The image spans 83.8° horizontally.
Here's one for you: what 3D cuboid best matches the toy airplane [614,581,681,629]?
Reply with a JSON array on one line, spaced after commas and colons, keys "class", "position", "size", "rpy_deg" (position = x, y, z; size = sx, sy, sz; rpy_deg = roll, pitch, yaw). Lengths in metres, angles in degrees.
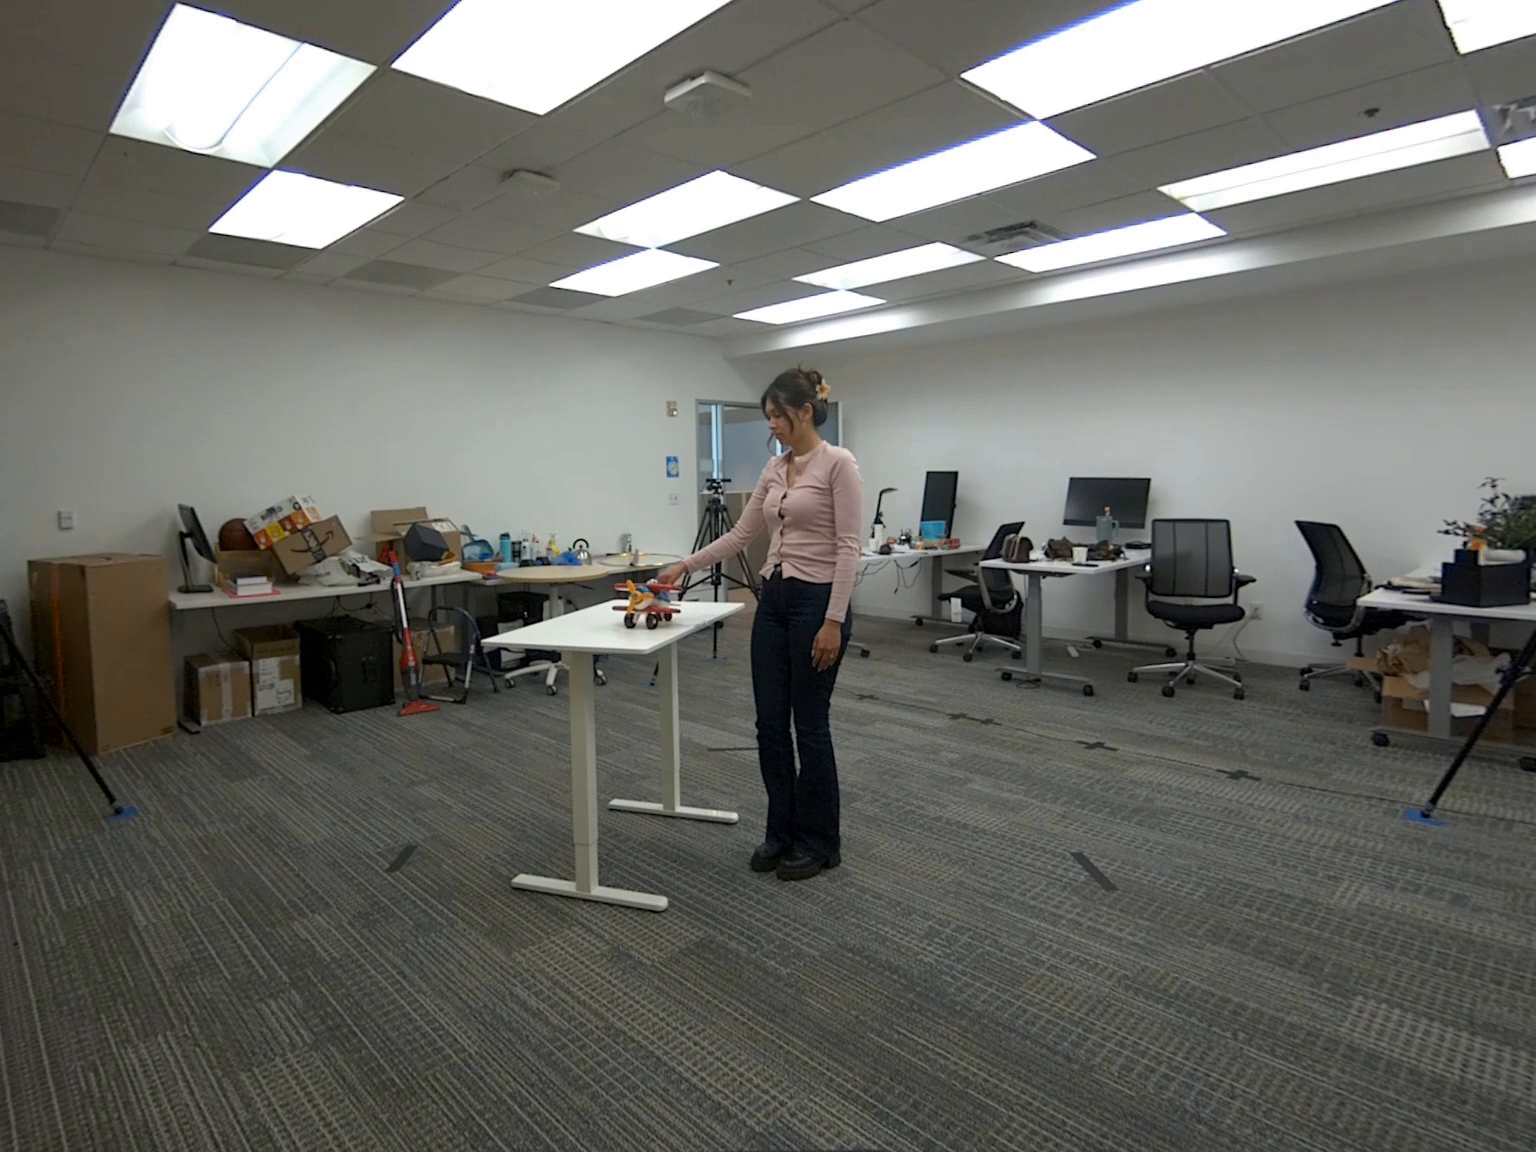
[{"class": "toy airplane", "position": [-0.433, 0.097, 3.067], "size": [0.249, 0.155, 0.262], "rpy_deg": [-2, 7, -7]}]
